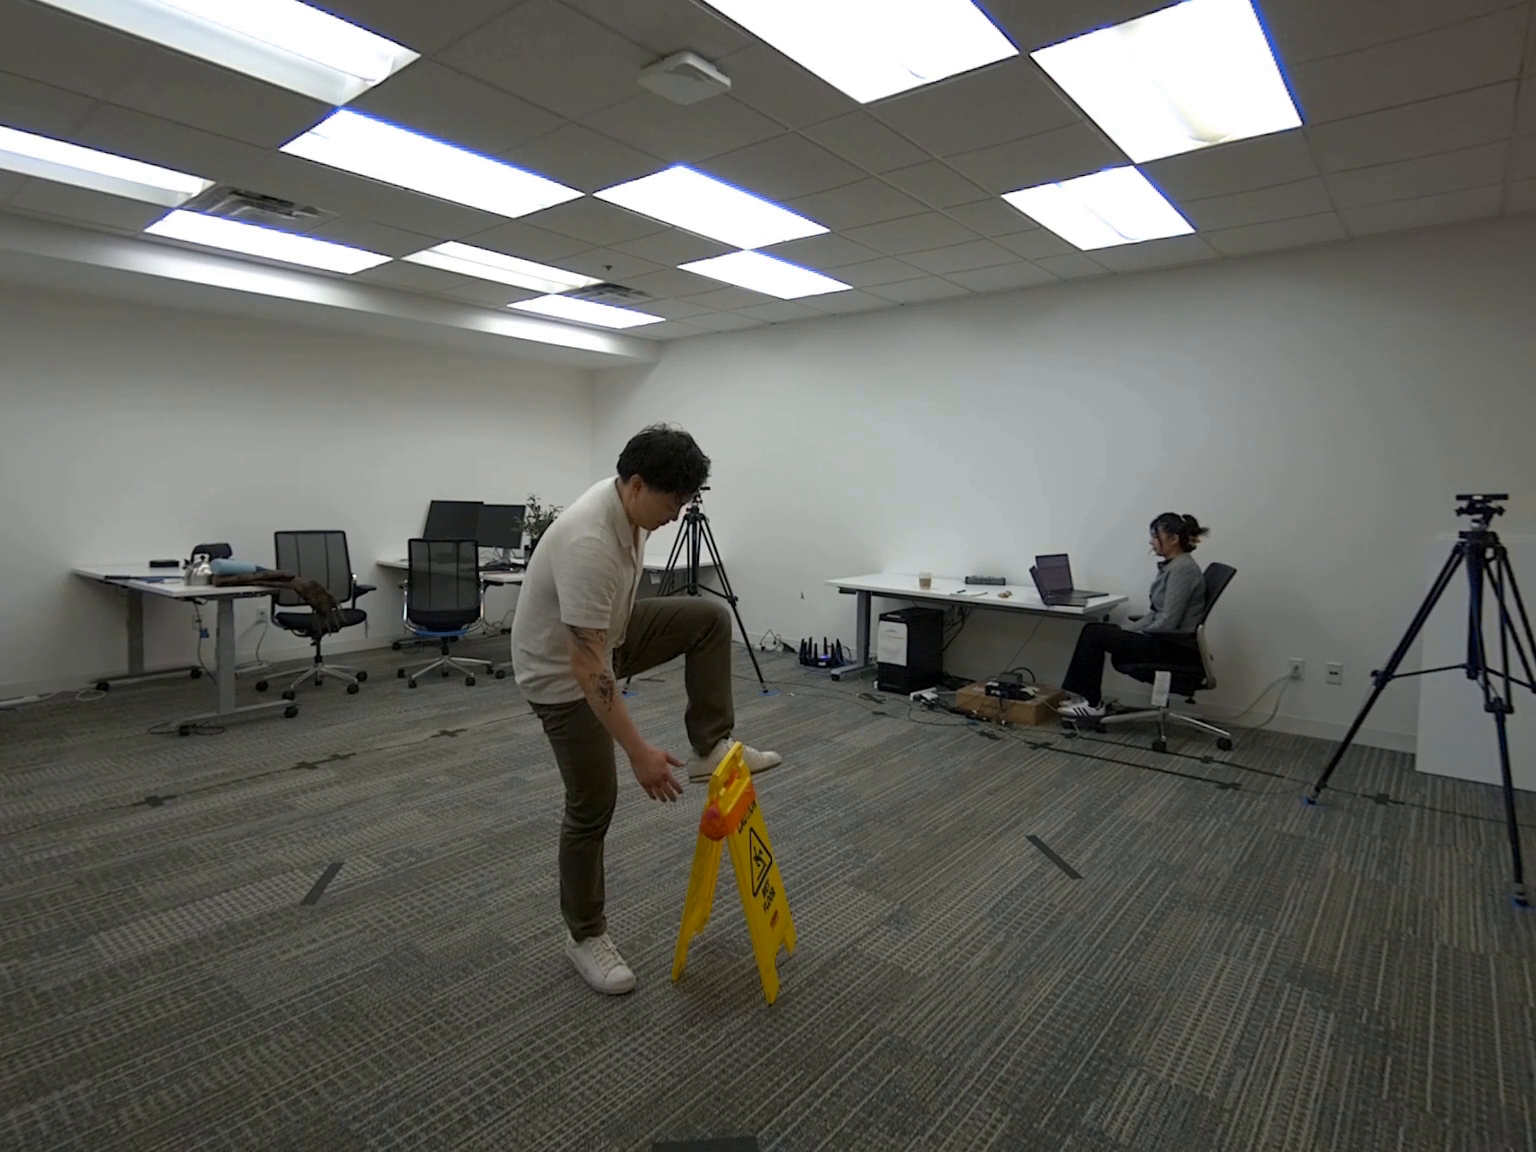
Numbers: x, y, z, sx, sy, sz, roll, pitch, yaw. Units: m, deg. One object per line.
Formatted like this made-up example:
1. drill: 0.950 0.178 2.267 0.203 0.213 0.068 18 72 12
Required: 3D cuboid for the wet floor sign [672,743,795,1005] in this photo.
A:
1. wet floor sign: -0.109 0.803 2.385 0.296 0.637 0.280 3 15 19
